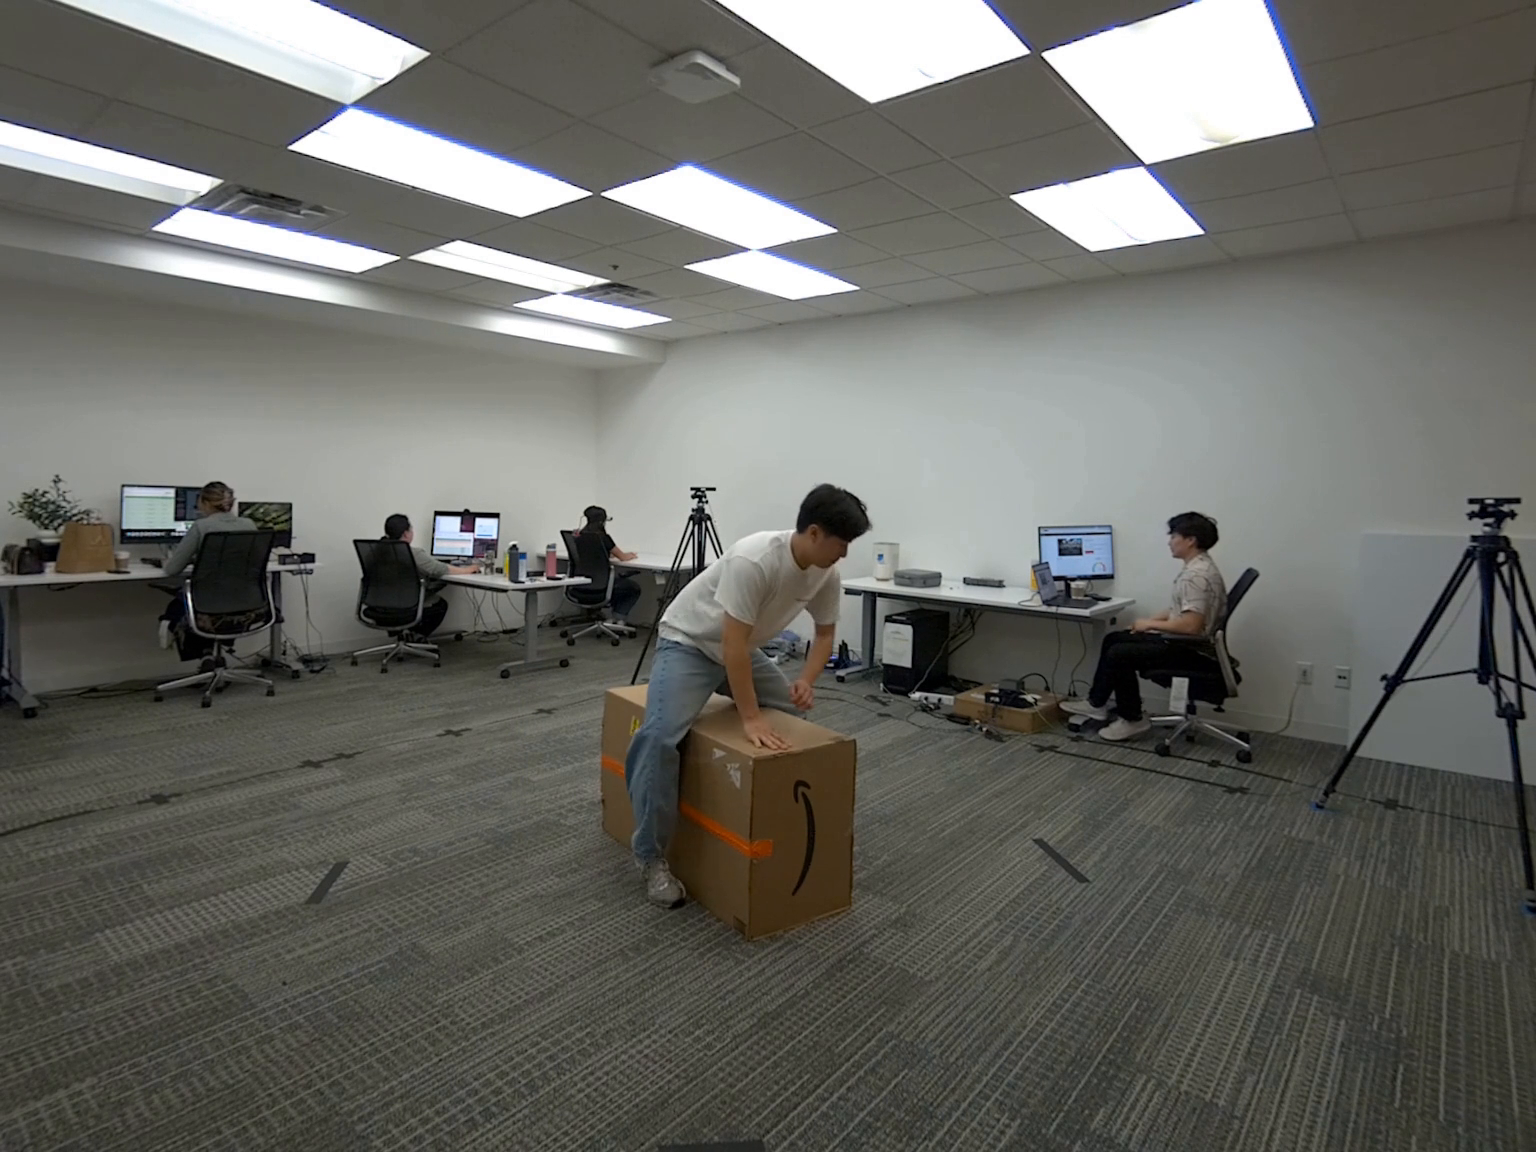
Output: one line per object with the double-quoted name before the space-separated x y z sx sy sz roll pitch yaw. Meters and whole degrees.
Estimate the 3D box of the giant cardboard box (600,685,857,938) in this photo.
"giant cardboard box" -0.201 0.779 3.123 0.414 0.576 1.060 -1 5 -36
